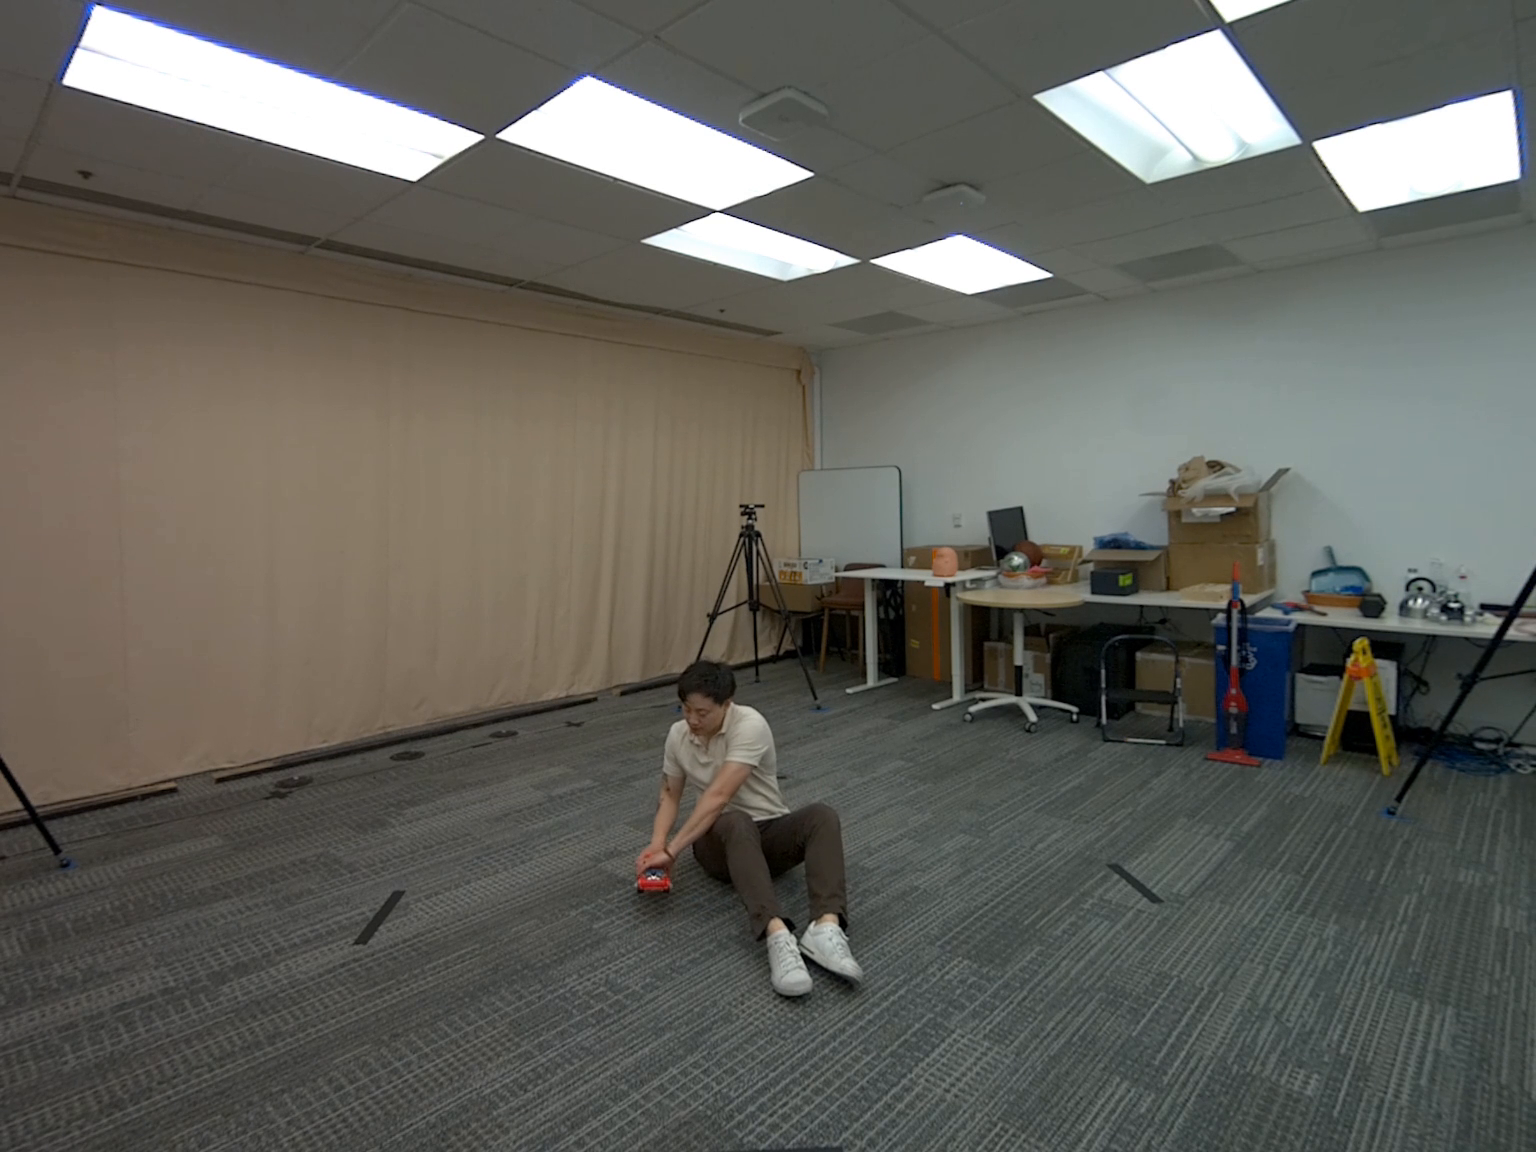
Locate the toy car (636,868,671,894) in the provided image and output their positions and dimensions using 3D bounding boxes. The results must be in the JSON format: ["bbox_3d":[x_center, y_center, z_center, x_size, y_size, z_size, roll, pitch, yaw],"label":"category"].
[{"bbox_3d":[-0.389,1.037,2.935,0.129,0.083,0.257,1,4,-7],"label":"toy car"}]
